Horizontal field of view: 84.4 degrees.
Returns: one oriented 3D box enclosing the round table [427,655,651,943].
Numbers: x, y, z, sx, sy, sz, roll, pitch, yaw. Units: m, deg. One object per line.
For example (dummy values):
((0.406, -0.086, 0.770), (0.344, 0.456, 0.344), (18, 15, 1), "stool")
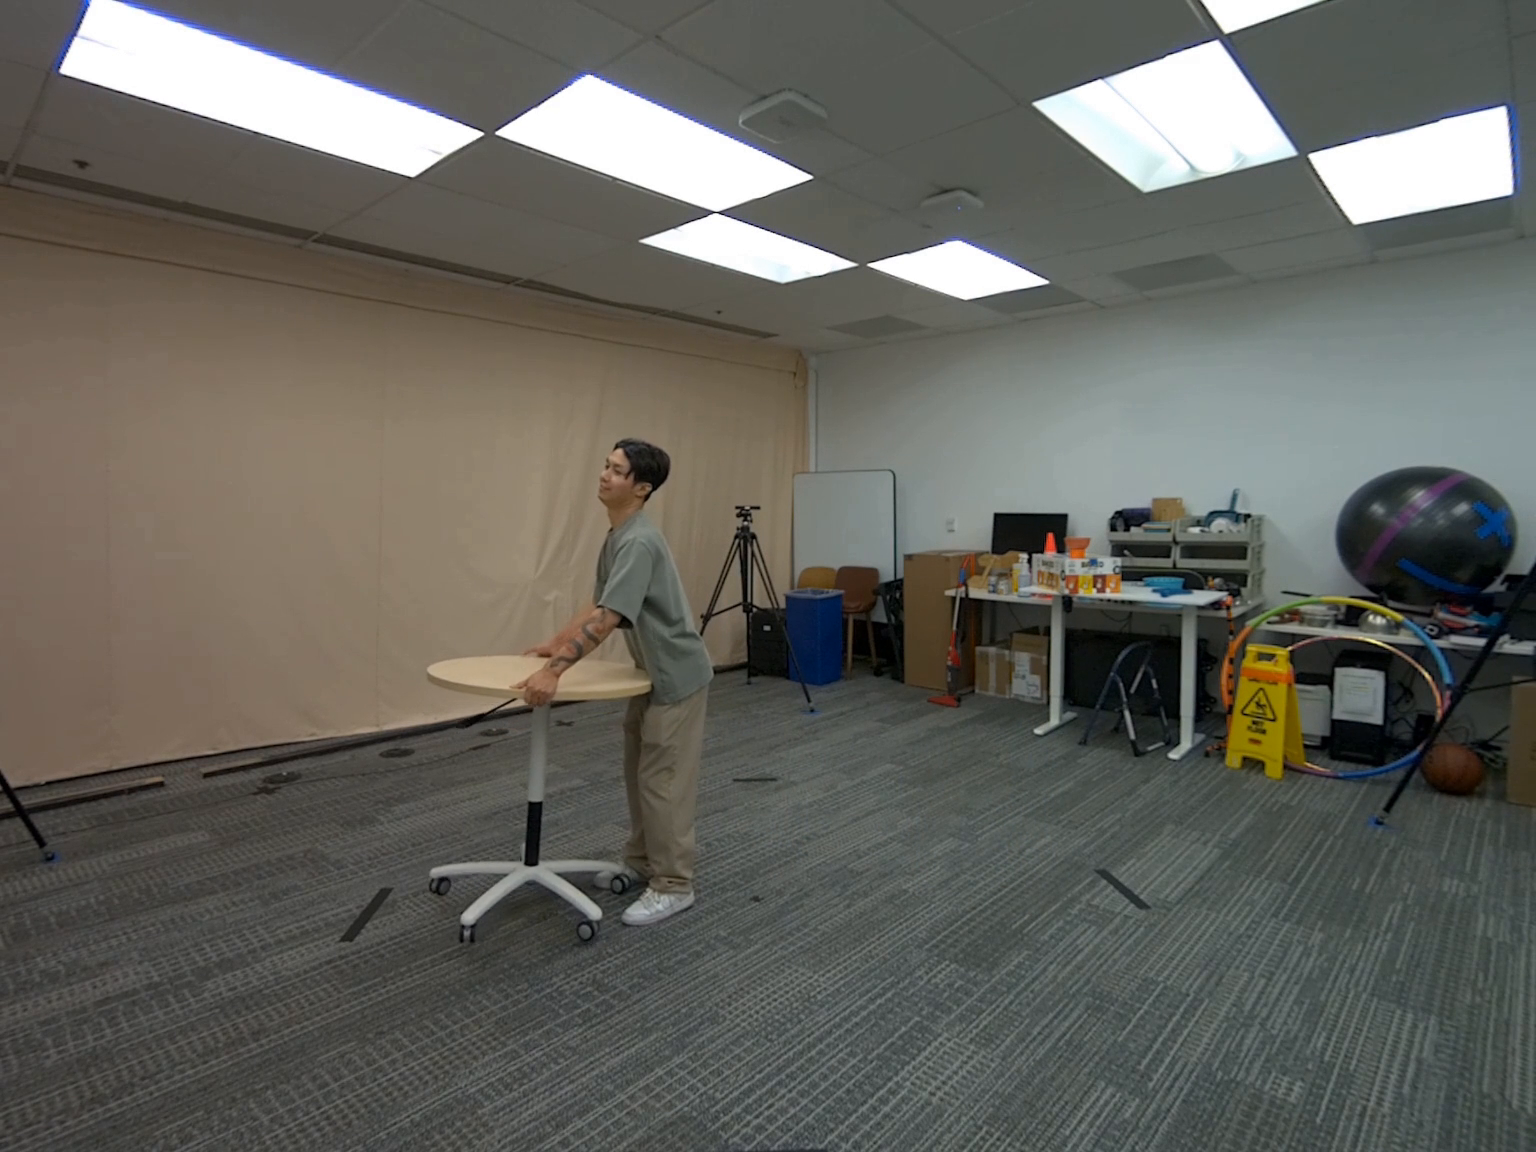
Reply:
((-0.795, 0.728, 2.894), (0.784, 0.786, 0.787), (4, 1, -2), "round table")
